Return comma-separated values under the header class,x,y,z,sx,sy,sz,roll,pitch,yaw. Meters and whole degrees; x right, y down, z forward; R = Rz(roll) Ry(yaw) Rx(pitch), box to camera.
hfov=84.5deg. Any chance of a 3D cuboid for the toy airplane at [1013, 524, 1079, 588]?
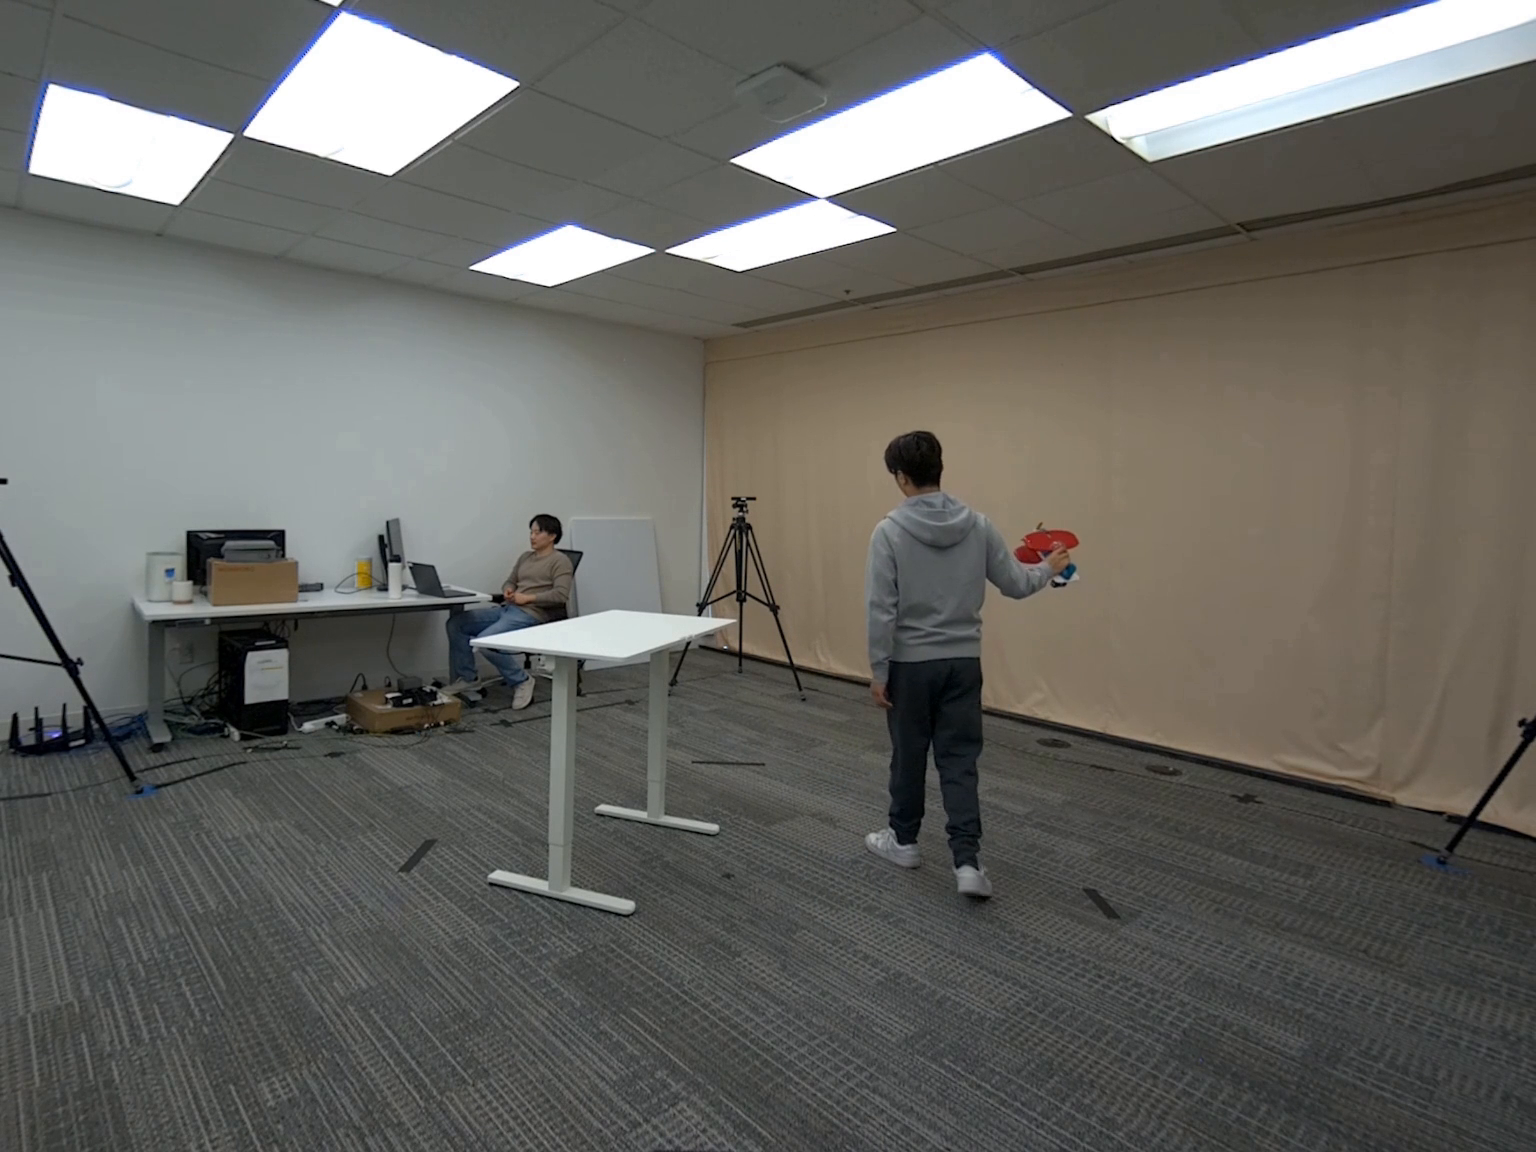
class,x,y,z,sx,sy,sz,roll,pitch,yaw
toy airplane,1.122,-0.080,3.361,0.266,0.154,0.248,32,40,28
